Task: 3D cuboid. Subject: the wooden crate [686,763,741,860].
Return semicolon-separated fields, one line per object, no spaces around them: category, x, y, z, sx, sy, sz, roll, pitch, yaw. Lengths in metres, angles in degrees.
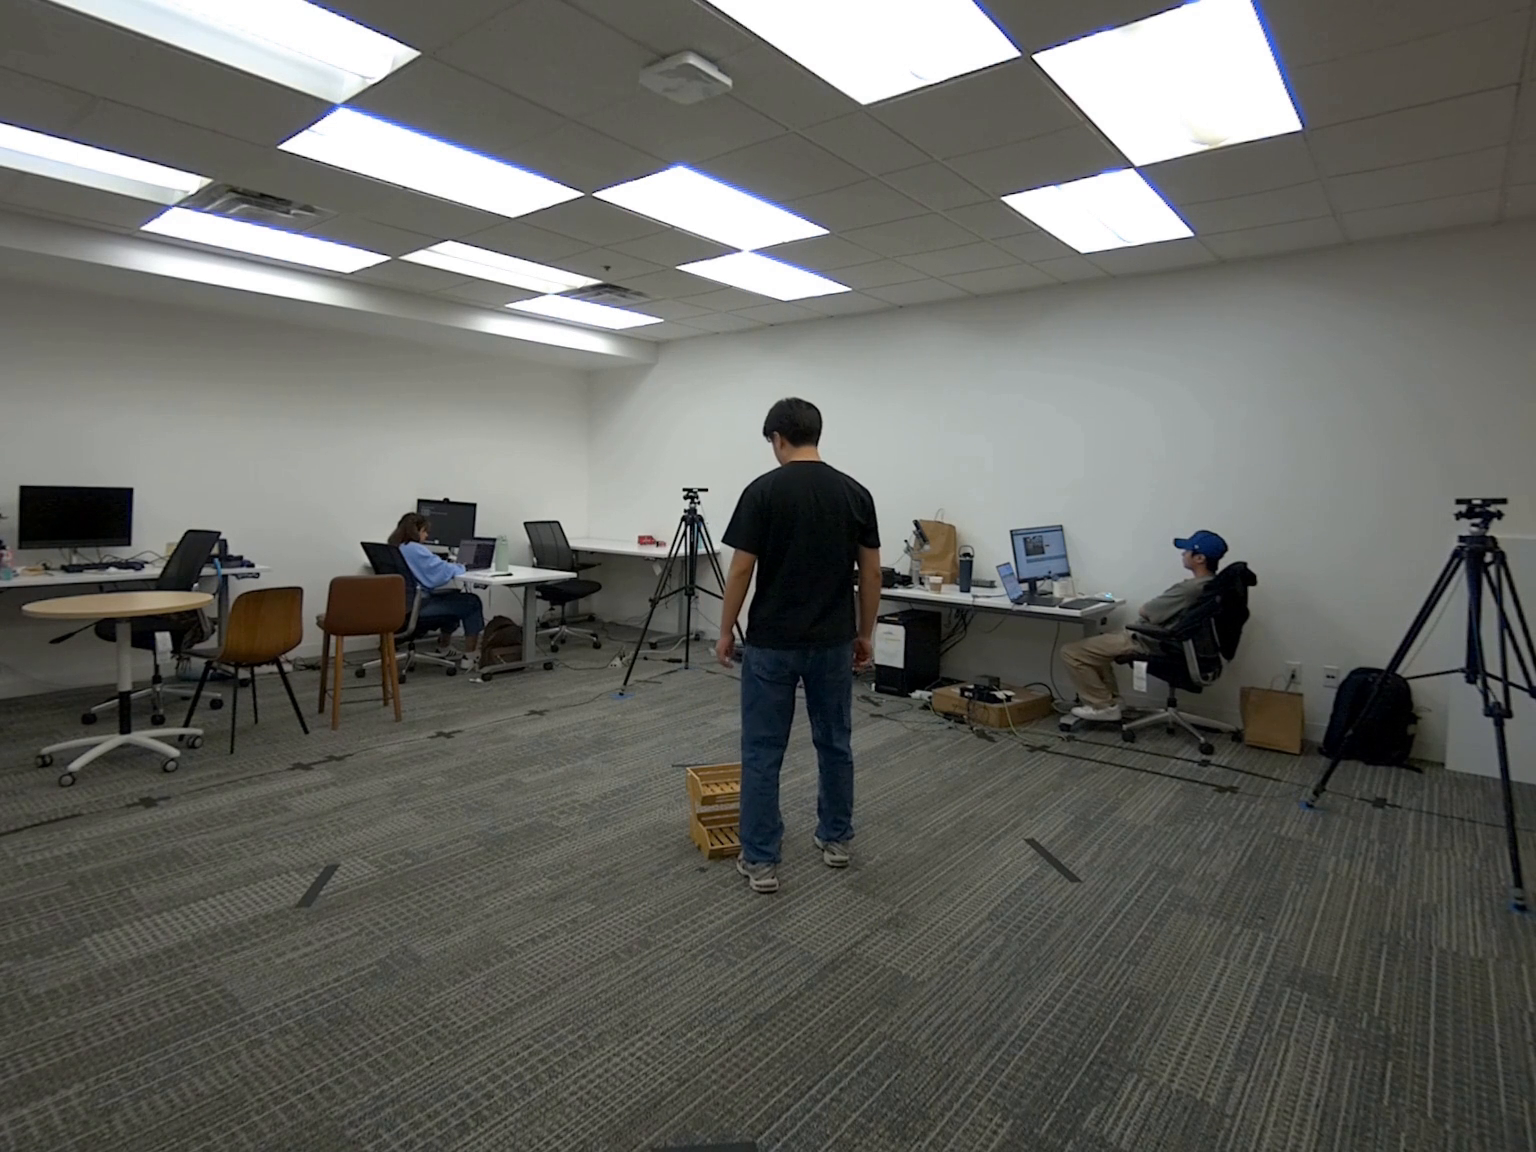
wooden crate;-0.148;0.911;3.362;0.318;0.272;0.310;-1;5;-22
